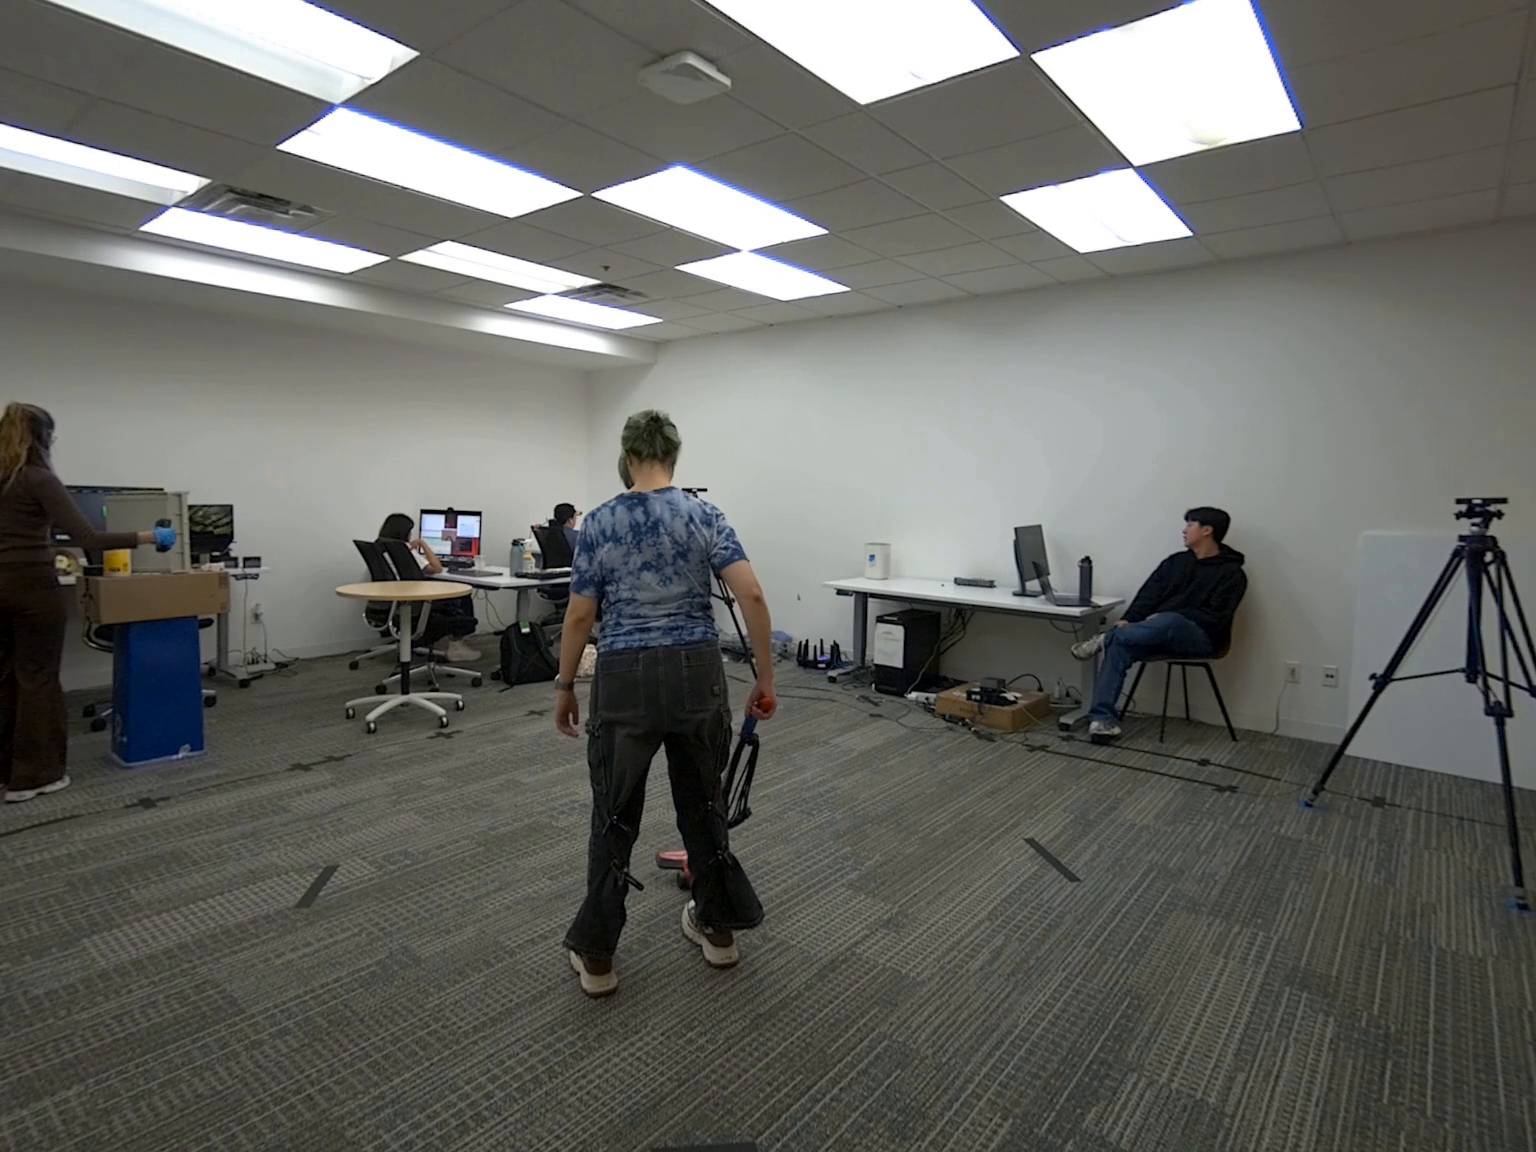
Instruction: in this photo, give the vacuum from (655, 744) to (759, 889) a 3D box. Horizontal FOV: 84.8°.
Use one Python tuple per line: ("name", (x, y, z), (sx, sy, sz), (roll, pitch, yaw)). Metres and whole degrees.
("vacuum", (-0.145, 0.701, 2.674), (0.248, 0.149, 1.032), (2, -42, -19))
